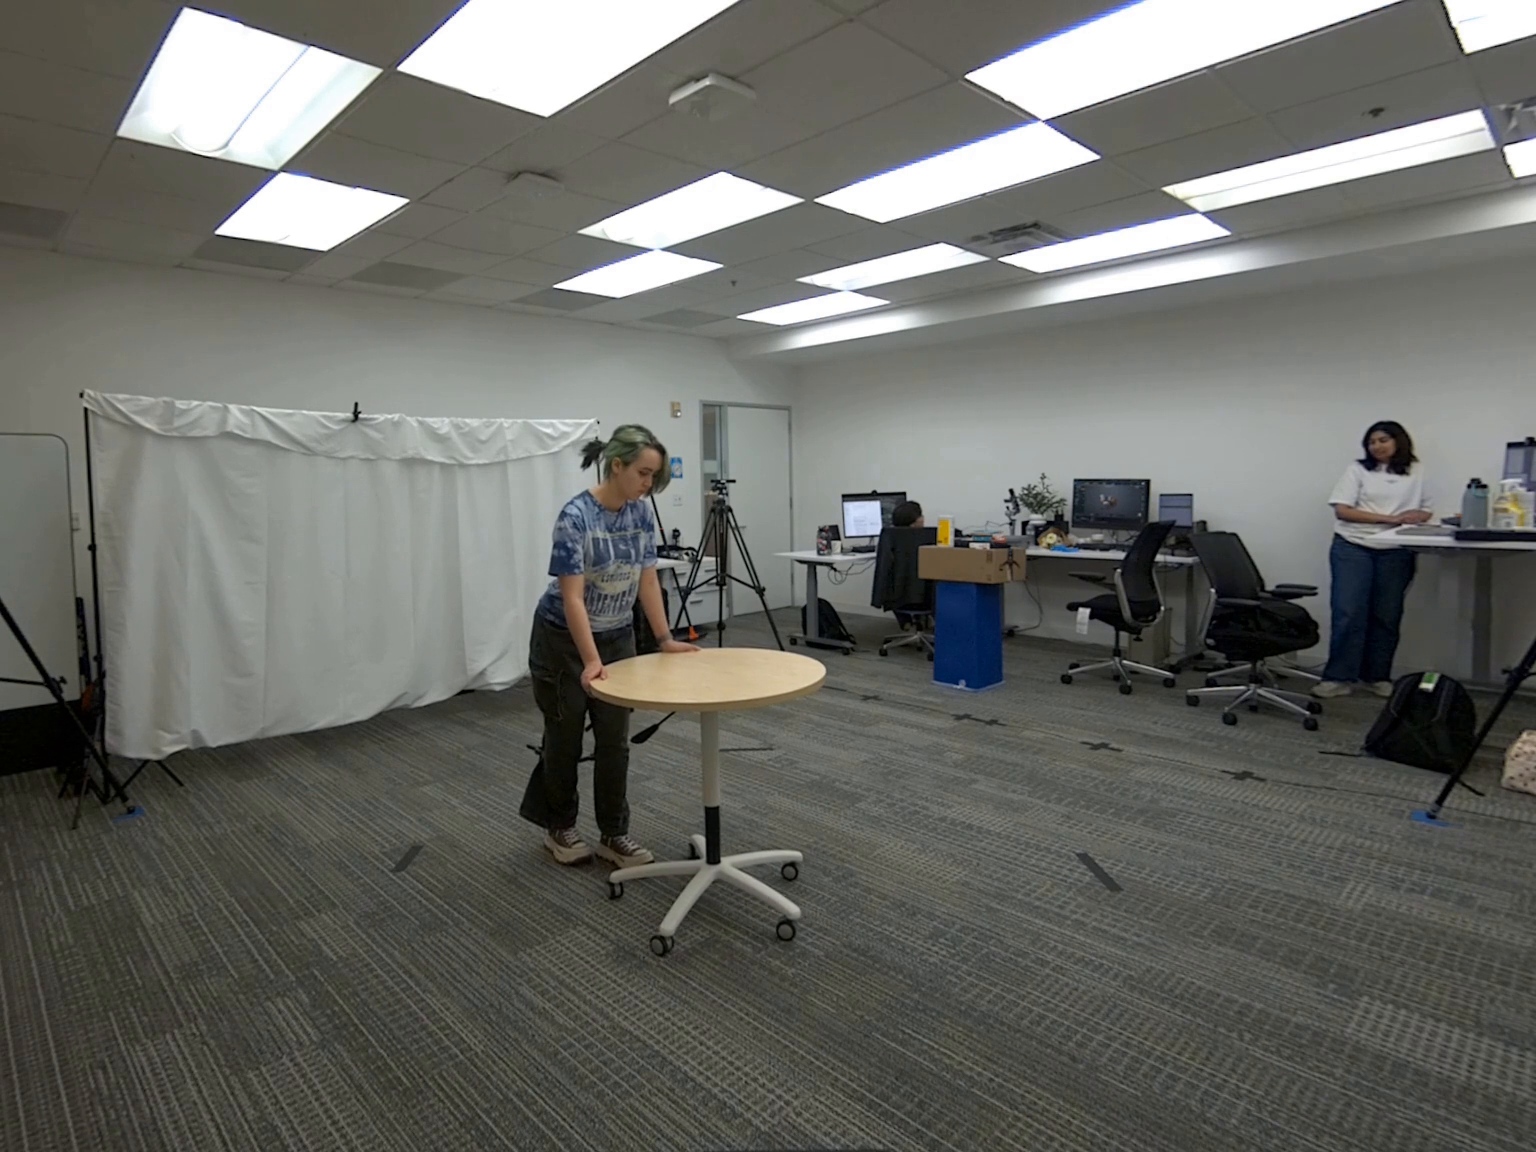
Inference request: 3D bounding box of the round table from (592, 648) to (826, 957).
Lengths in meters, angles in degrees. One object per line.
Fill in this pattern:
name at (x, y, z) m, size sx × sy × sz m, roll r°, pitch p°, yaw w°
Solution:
round table at (-0.184, 0.700, 2.797) m, size 0.763 × 0.791 × 0.768 m, roll -2°, pitch 5°, yaw -2°
